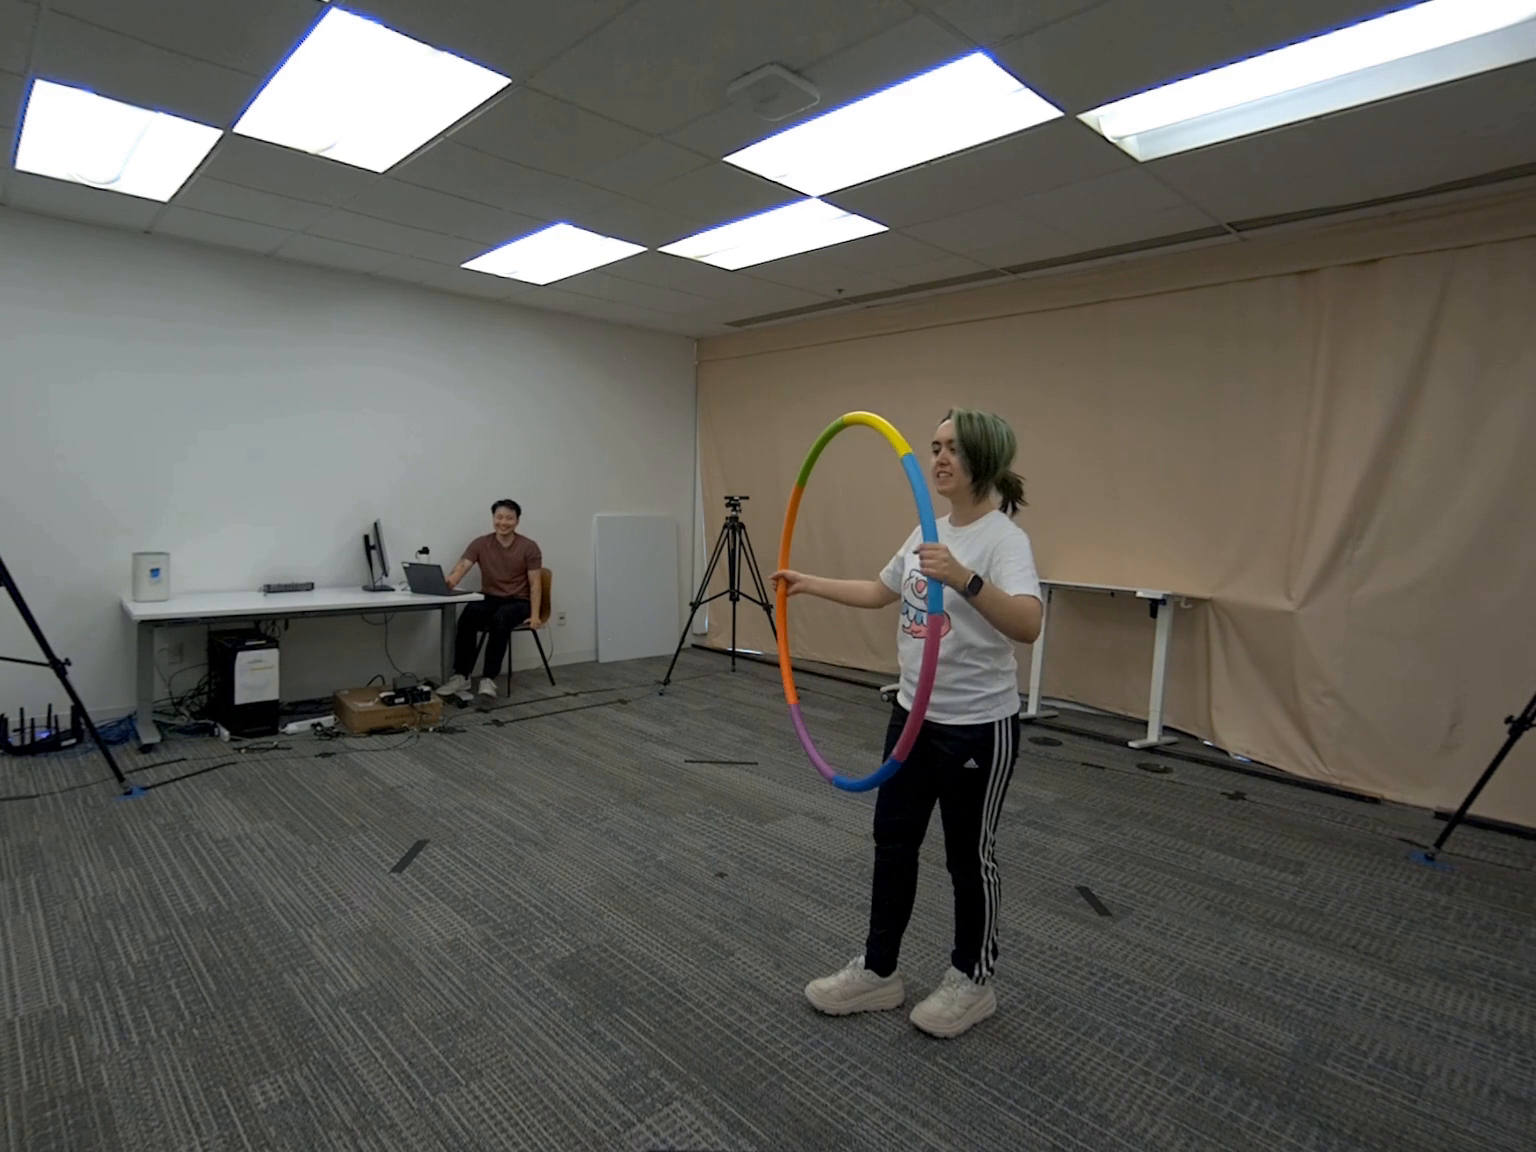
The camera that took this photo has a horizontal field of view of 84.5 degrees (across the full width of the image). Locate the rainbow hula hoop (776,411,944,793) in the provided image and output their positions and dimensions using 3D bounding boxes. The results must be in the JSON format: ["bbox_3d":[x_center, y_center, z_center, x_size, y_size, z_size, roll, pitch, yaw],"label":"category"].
[{"bbox_3d":[0.194,0.062,2.224,0.035,0.976,0.994,1,4,-18],"label":"rainbow hula hoop"}]
